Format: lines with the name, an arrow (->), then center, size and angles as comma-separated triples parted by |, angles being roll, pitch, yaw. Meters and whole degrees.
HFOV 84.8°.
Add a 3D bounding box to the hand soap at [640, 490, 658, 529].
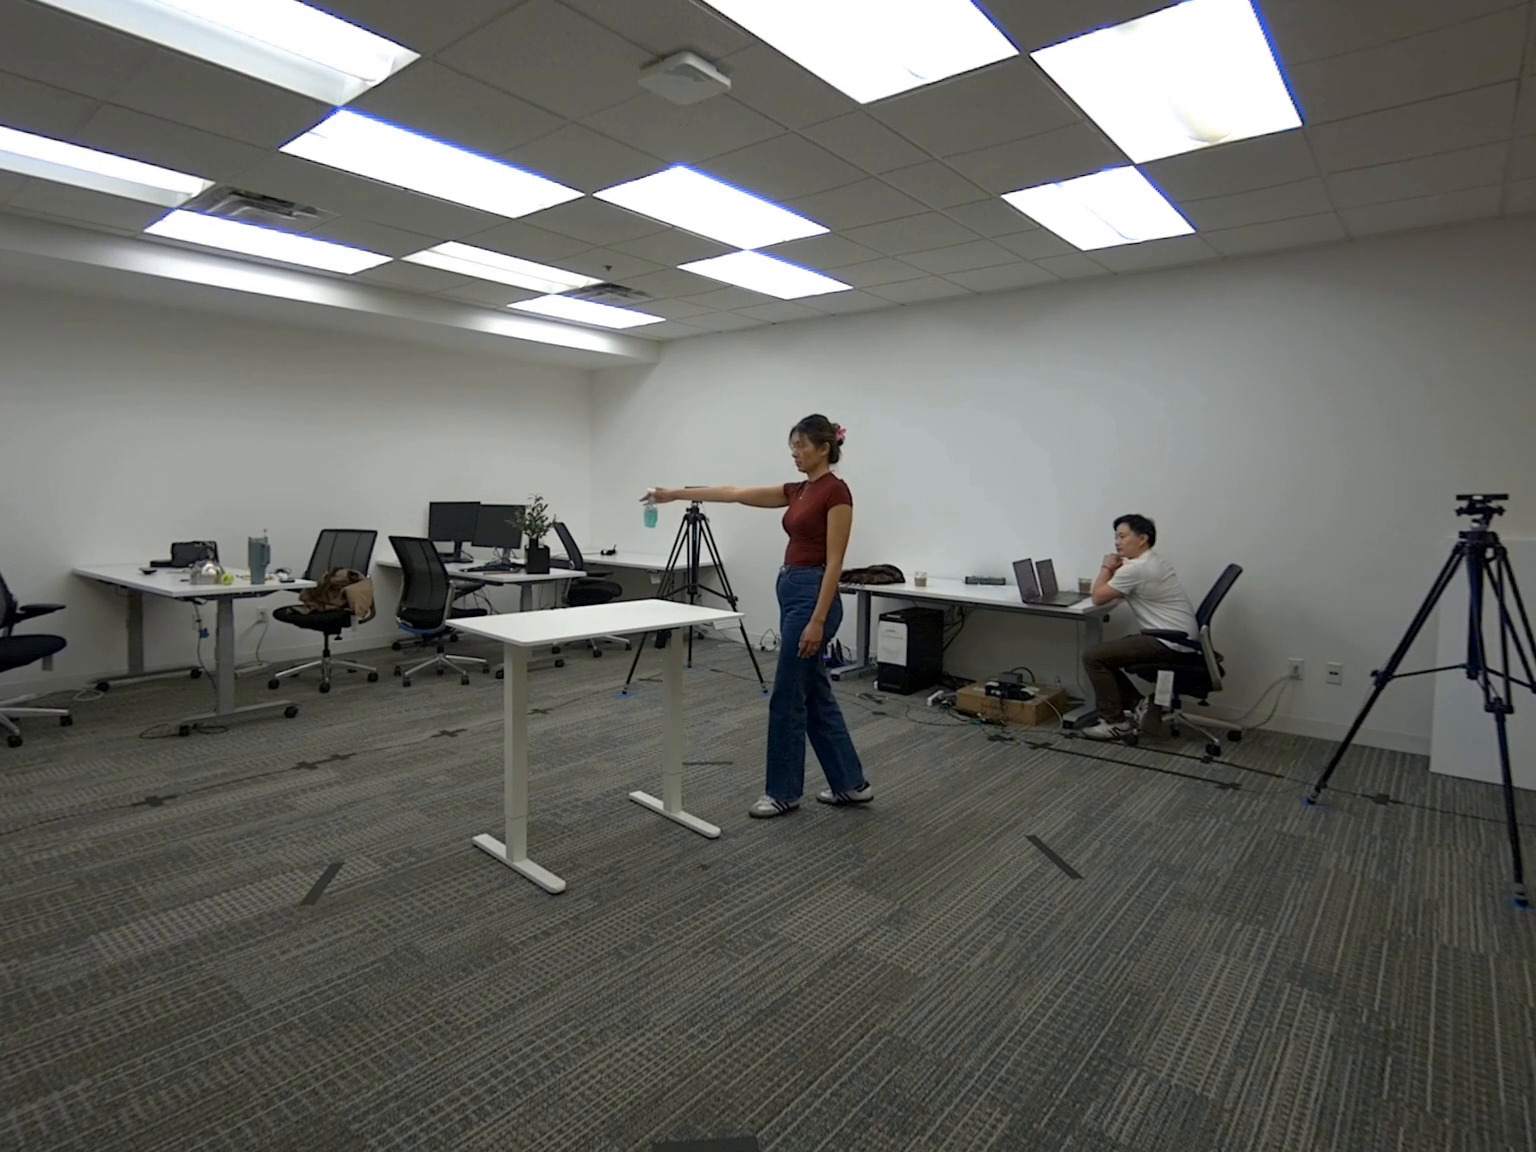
hand soap -> -0.523, -0.303, 3.727 | 0.042, 0.167, 0.088 | 1, 9, -37
